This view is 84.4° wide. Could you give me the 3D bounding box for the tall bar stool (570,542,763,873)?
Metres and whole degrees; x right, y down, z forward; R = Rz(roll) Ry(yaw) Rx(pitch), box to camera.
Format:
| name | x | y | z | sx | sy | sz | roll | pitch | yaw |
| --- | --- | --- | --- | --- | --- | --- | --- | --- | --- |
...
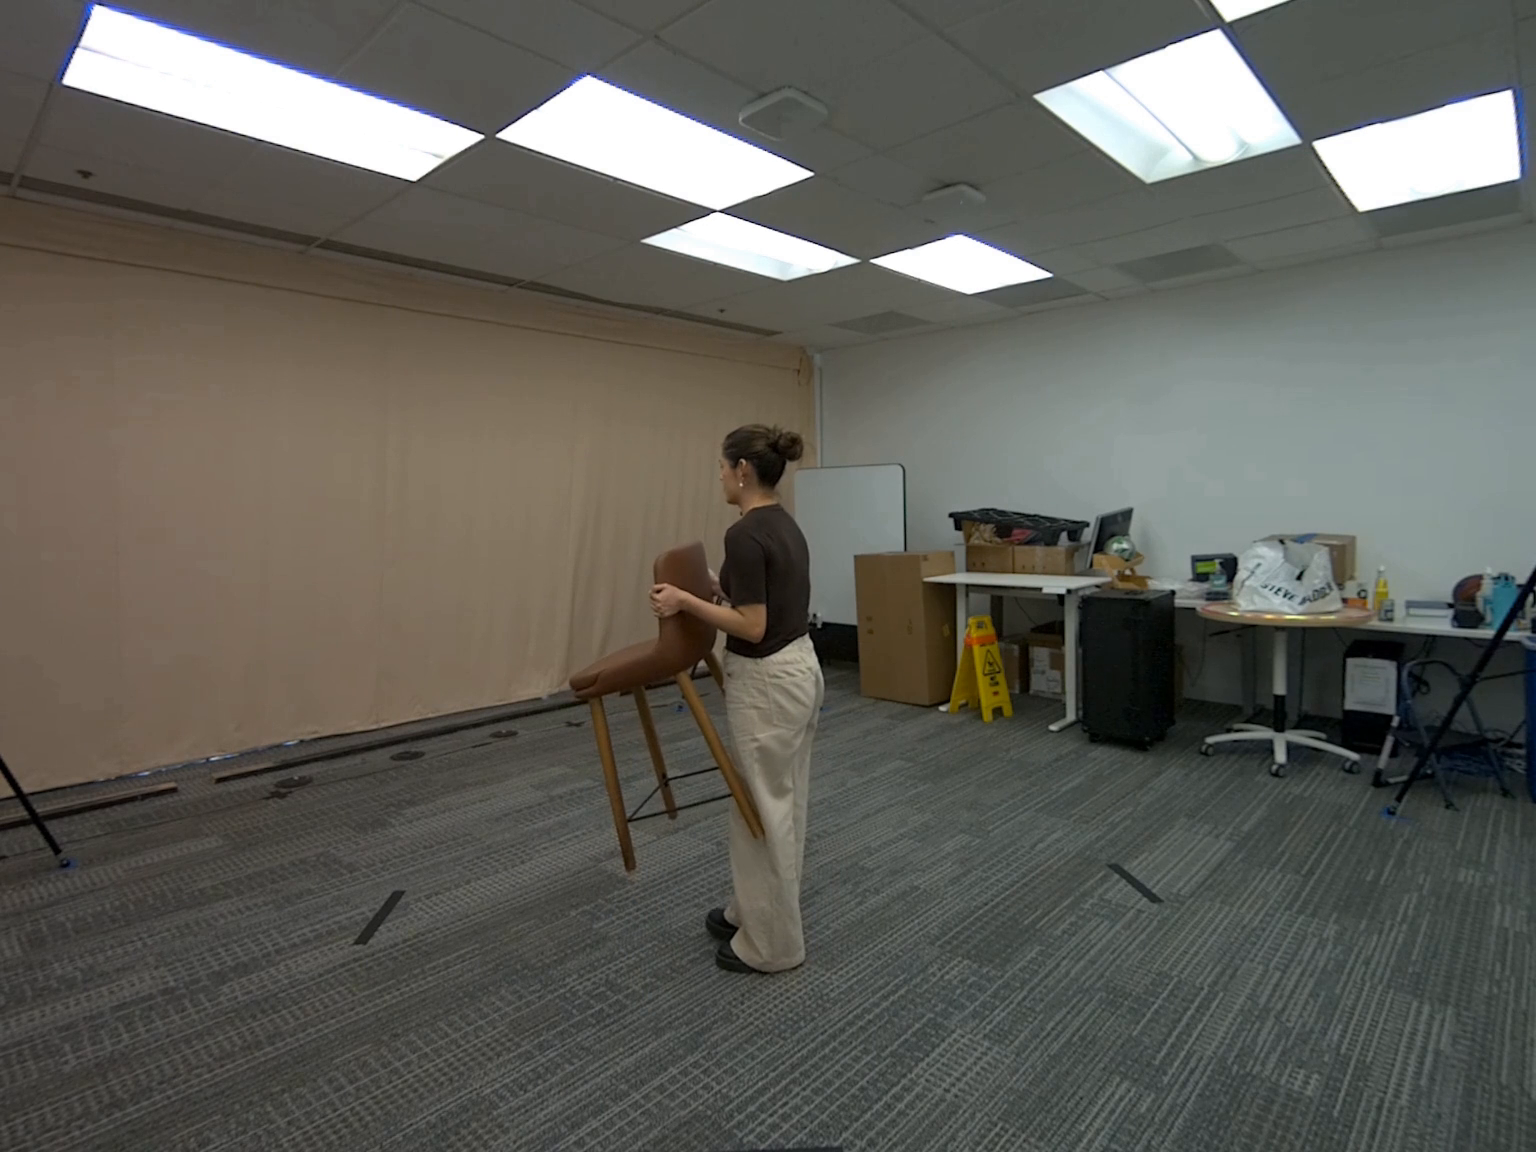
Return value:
| name | x | y | z | sx | sy | sz | roll | pitch | yaw |
| --- | --- | --- | --- | --- | --- | --- | --- | --- | --- |
| tall bar stool | -0.315 | 0.388 | 2.651 | 0.474 | 0.889 | 0.450 | -18 | 1 | 17 |
